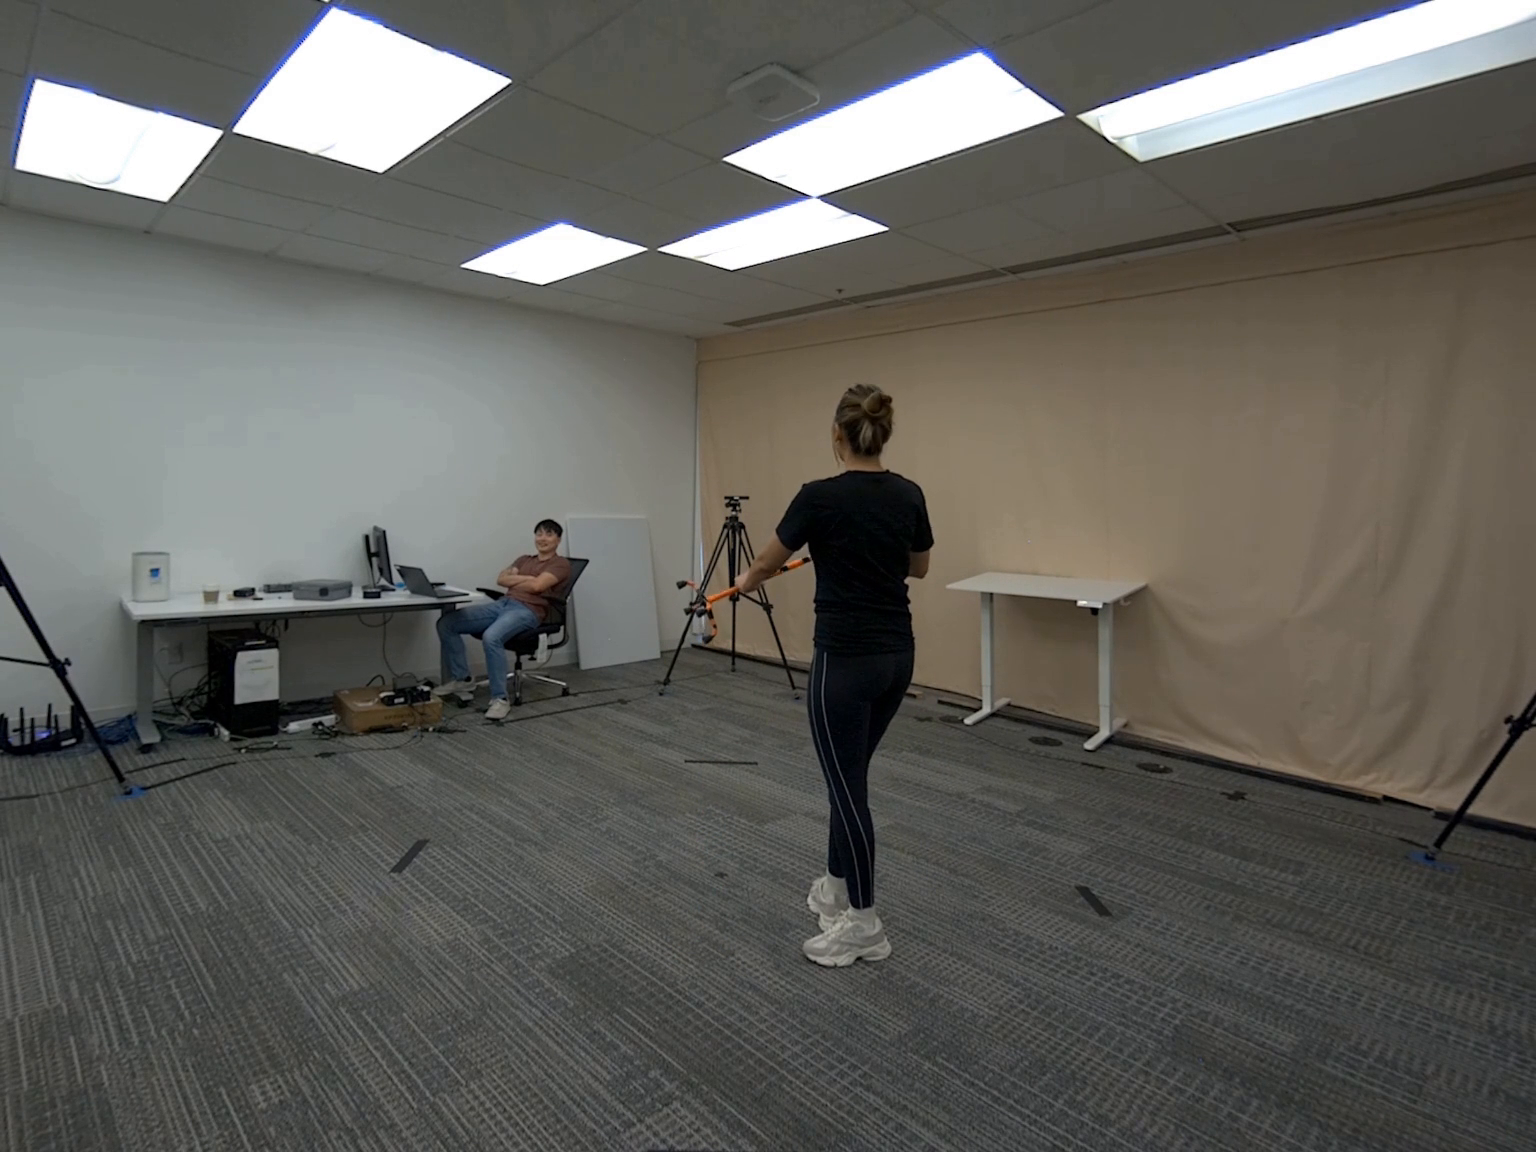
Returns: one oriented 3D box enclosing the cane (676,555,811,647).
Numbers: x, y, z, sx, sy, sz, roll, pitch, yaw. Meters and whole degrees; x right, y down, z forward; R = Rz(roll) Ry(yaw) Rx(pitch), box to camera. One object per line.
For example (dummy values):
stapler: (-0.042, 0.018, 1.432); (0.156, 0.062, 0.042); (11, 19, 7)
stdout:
cane: (0.119, -0.035, 3.016); (0.902, 0.148, 0.213); (-24, 40, -15)
